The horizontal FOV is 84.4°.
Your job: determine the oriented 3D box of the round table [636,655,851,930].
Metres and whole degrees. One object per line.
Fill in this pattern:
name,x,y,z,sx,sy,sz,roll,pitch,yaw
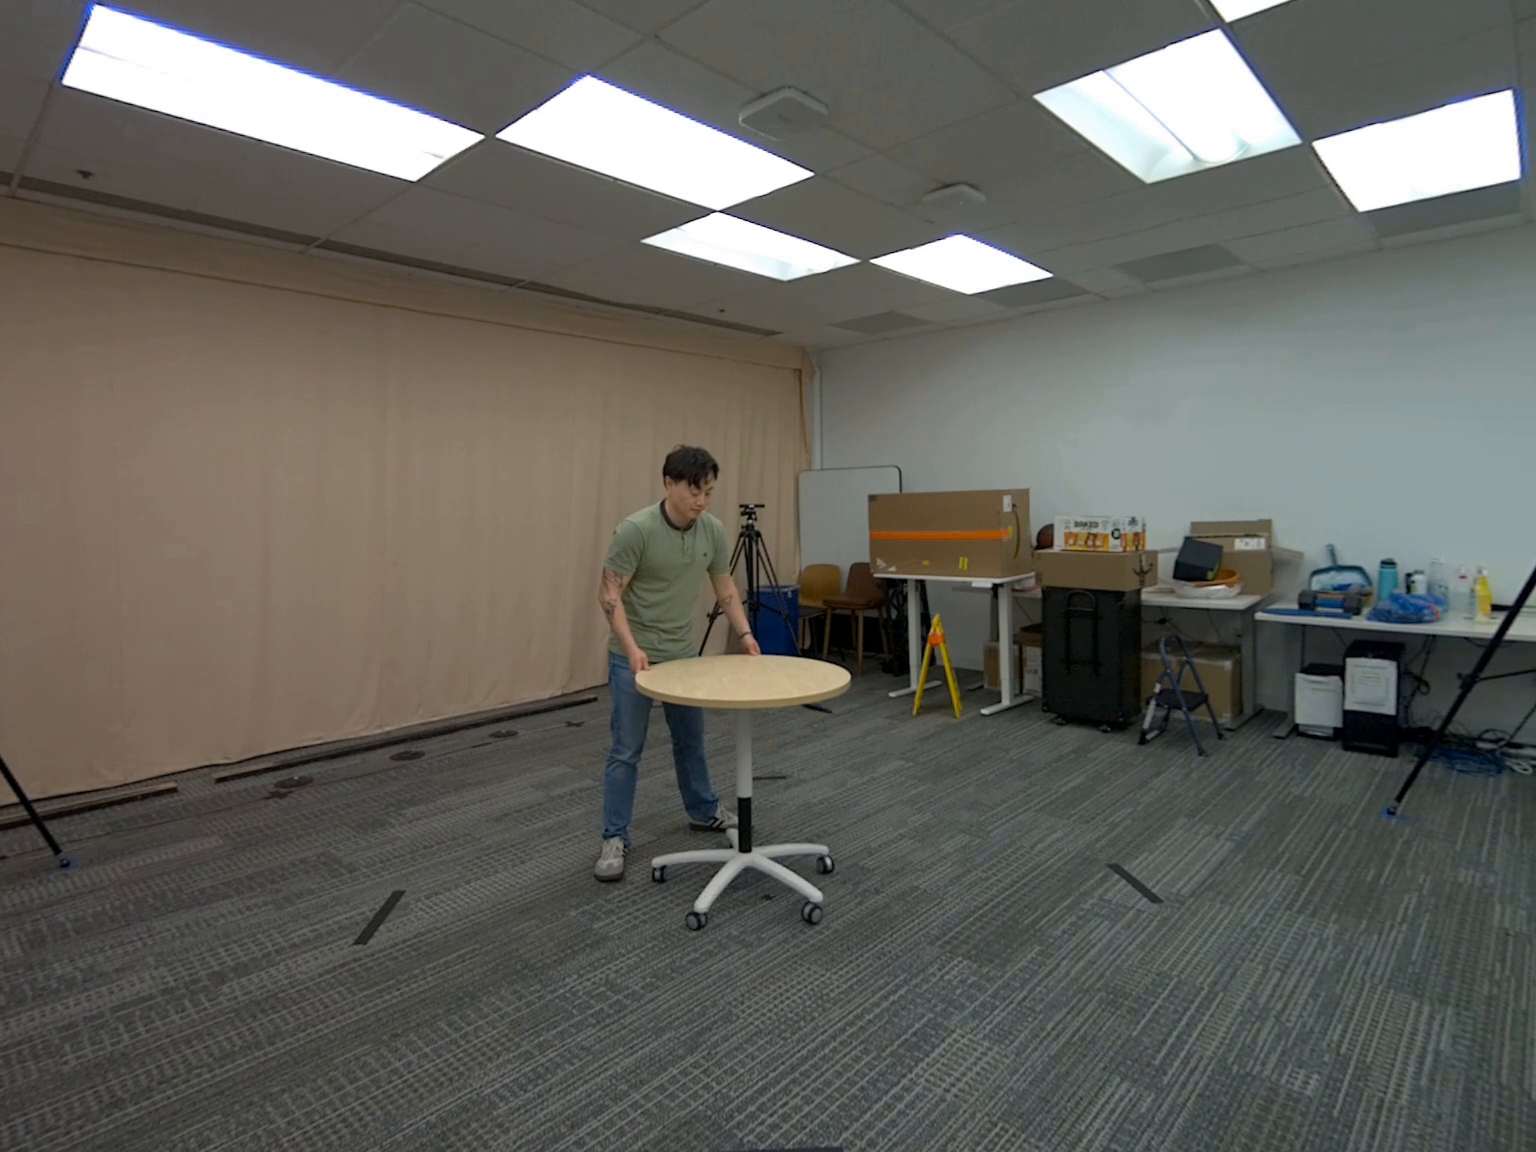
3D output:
round table,-0.074,0.747,3.028,0.763,0.792,0.767,-1,4,-2
